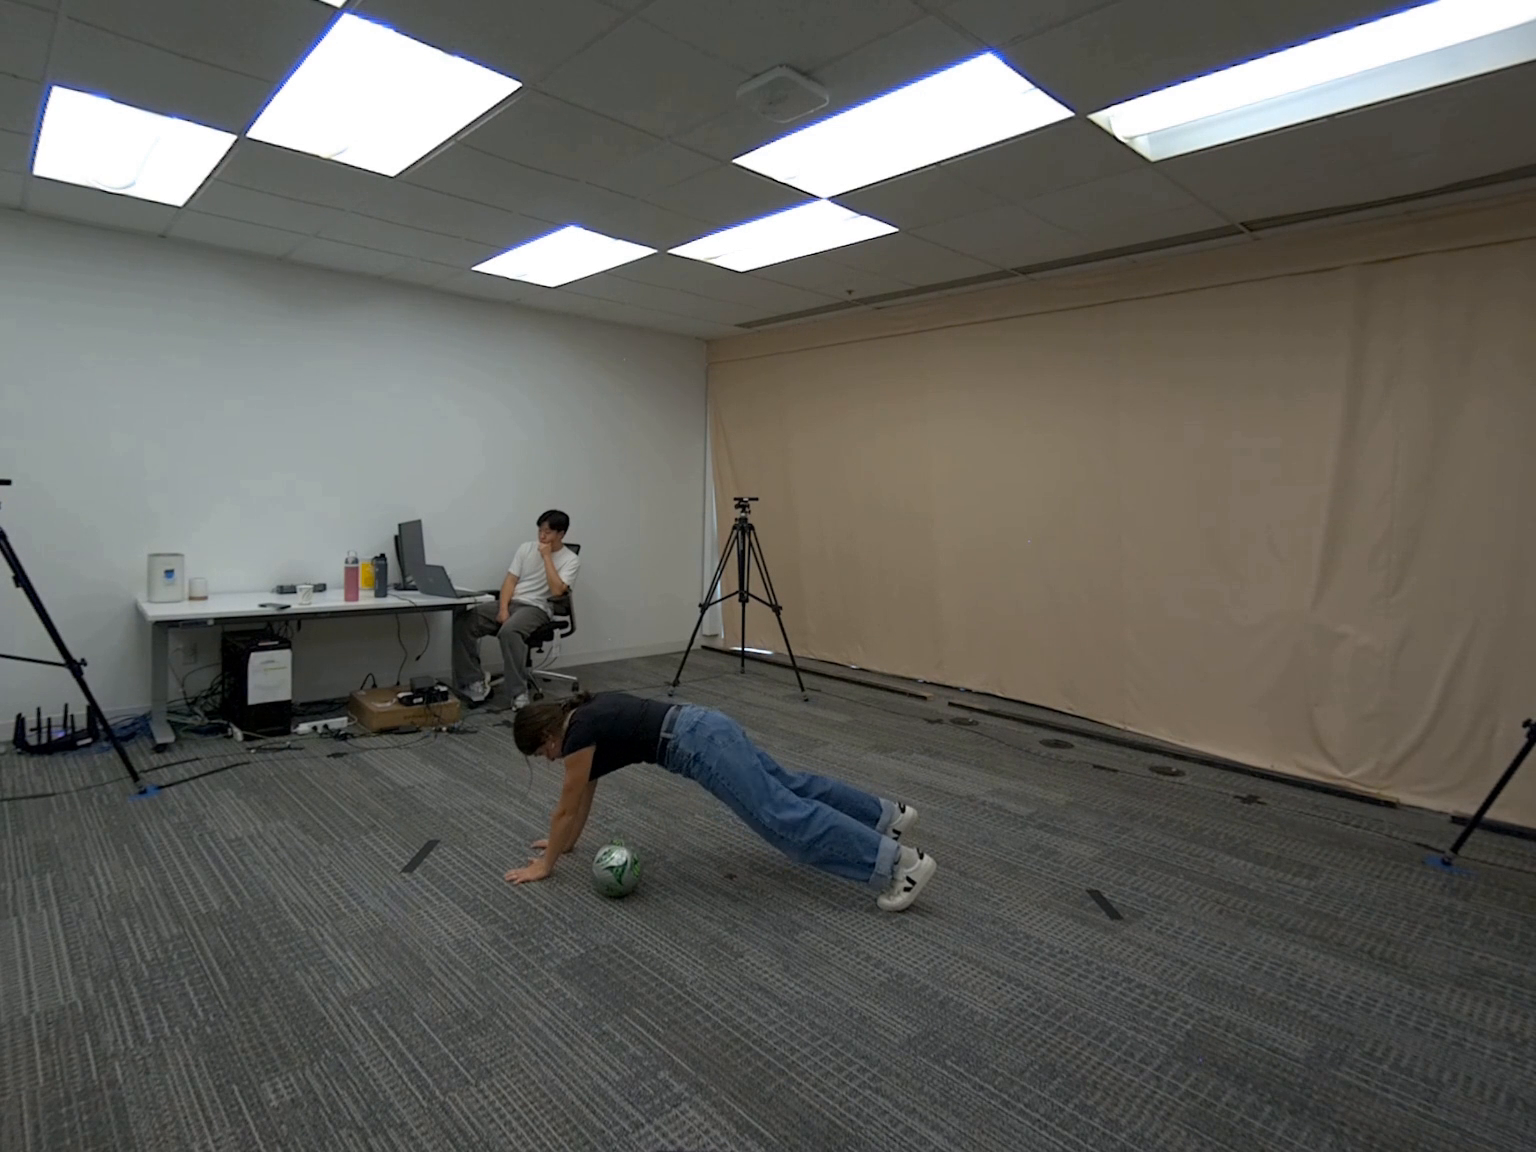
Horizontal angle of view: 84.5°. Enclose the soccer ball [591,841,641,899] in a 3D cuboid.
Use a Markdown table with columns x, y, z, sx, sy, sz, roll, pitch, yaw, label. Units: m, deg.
| x | y | z | sx | sy | sz | roll | pitch | yaw | label |
| --- | --- | --- | --- | --- | --- | --- | --- | --- | --- |
| -0.533 | 1.019 | 2.946 | 0.187 | 0.187 | 0.188 | 1 | 4 | -1 | soccer ball |
